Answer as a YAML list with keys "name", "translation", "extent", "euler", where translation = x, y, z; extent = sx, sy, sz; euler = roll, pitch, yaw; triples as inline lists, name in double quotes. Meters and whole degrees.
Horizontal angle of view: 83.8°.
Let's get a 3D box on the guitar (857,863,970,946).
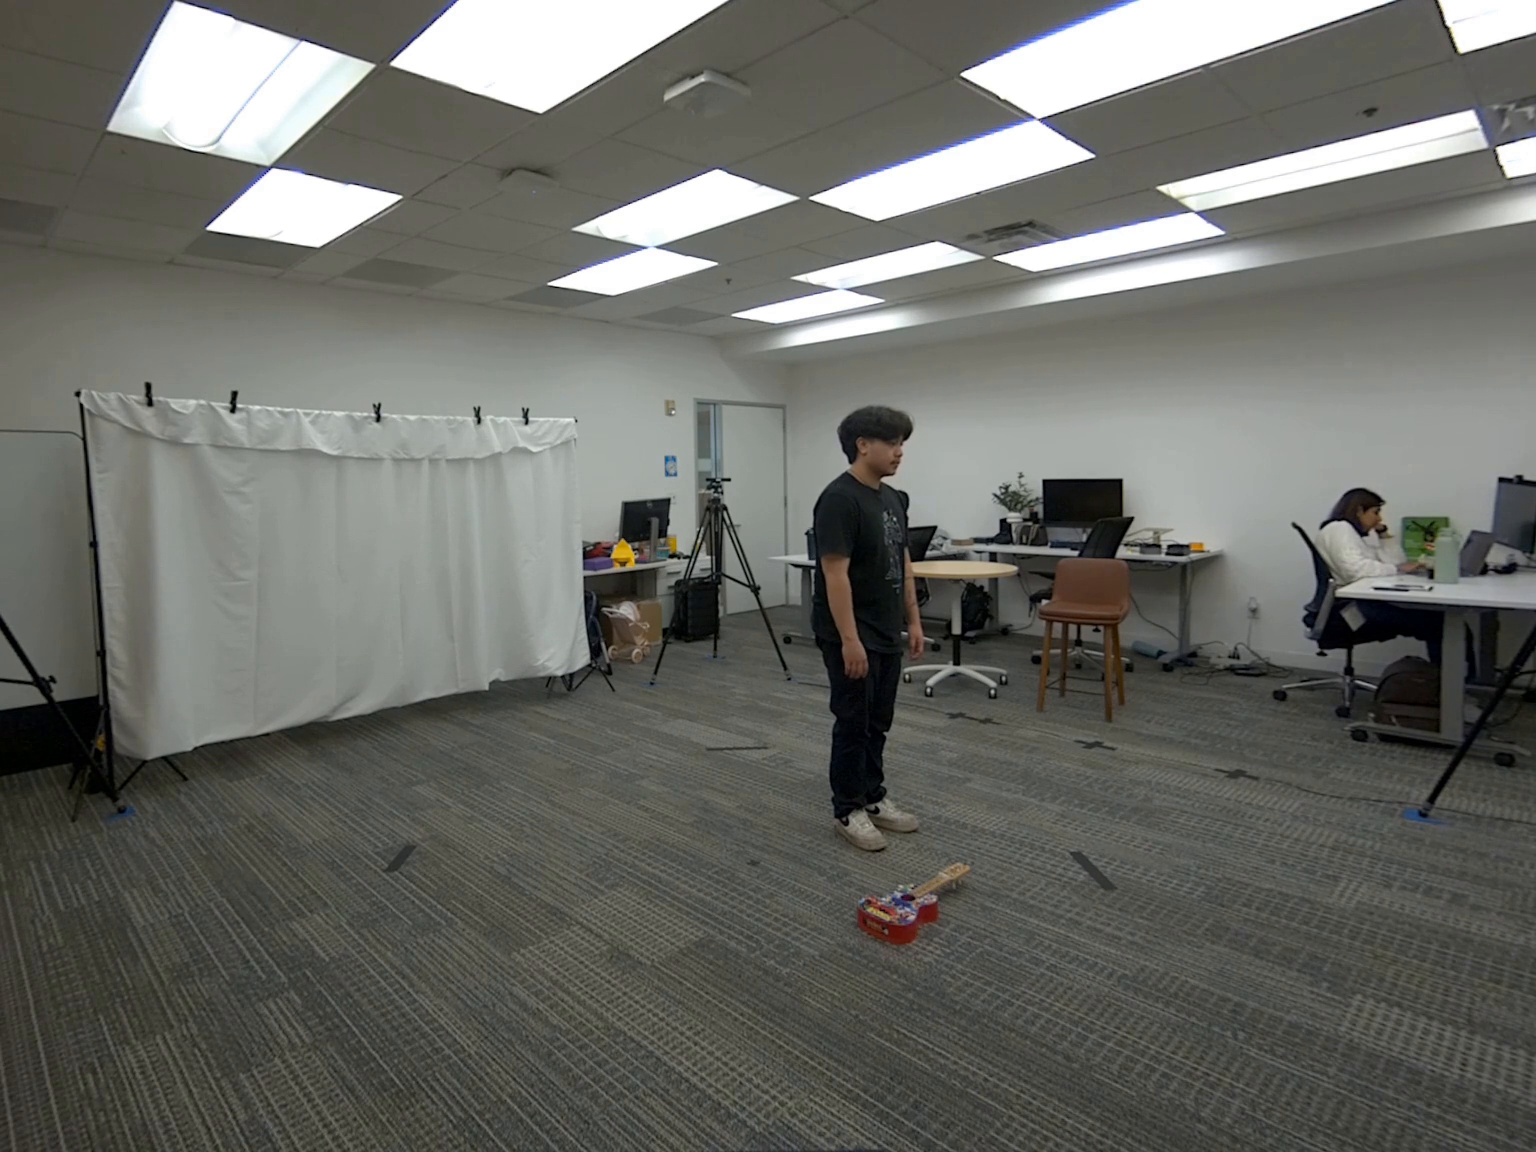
- name: "guitar"
  translation: [0.511, 1.039, 2.726]
  extent: [0.486, 0.070, 0.199]
  euler: [-5, 8, -32]
